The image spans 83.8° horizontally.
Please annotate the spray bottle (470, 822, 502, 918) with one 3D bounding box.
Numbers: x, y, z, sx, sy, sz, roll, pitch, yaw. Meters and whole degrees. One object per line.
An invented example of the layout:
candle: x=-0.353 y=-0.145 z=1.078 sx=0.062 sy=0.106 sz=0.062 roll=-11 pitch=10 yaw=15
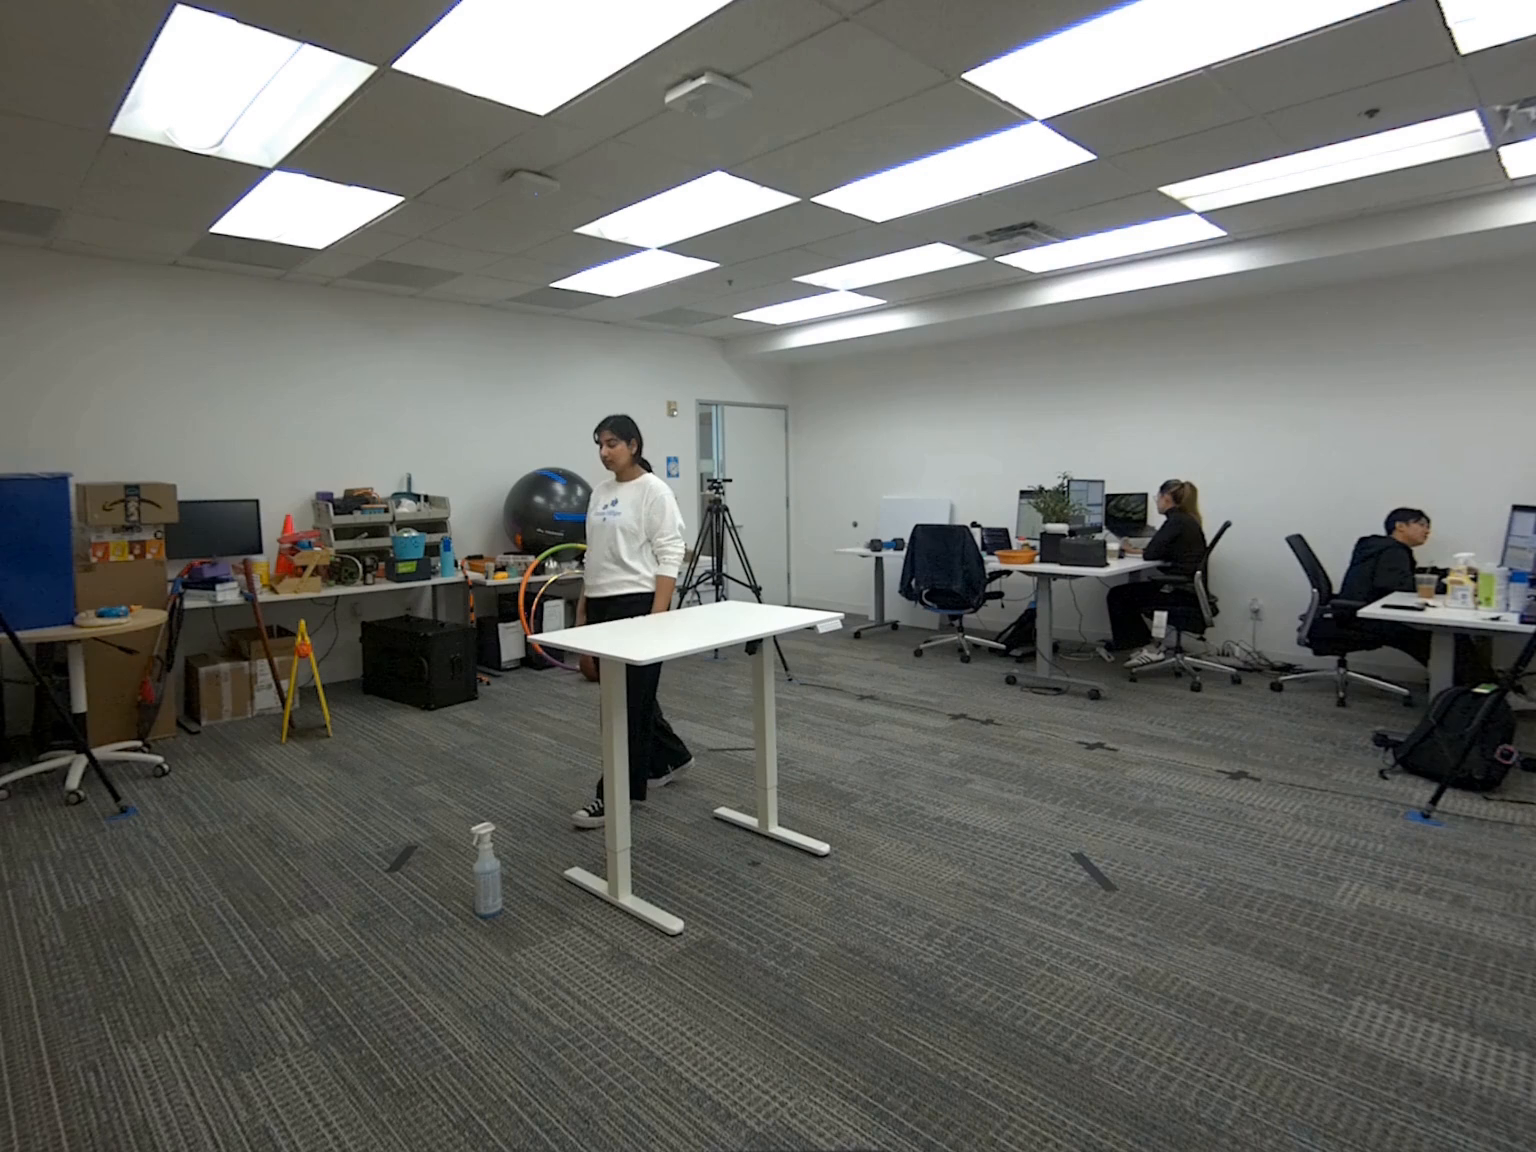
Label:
spray bottle: x=-0.919 y=0.959 z=2.795 sx=0.088 sy=0.296 sz=0.089 roll=-6 pitch=7 yaw=-32
